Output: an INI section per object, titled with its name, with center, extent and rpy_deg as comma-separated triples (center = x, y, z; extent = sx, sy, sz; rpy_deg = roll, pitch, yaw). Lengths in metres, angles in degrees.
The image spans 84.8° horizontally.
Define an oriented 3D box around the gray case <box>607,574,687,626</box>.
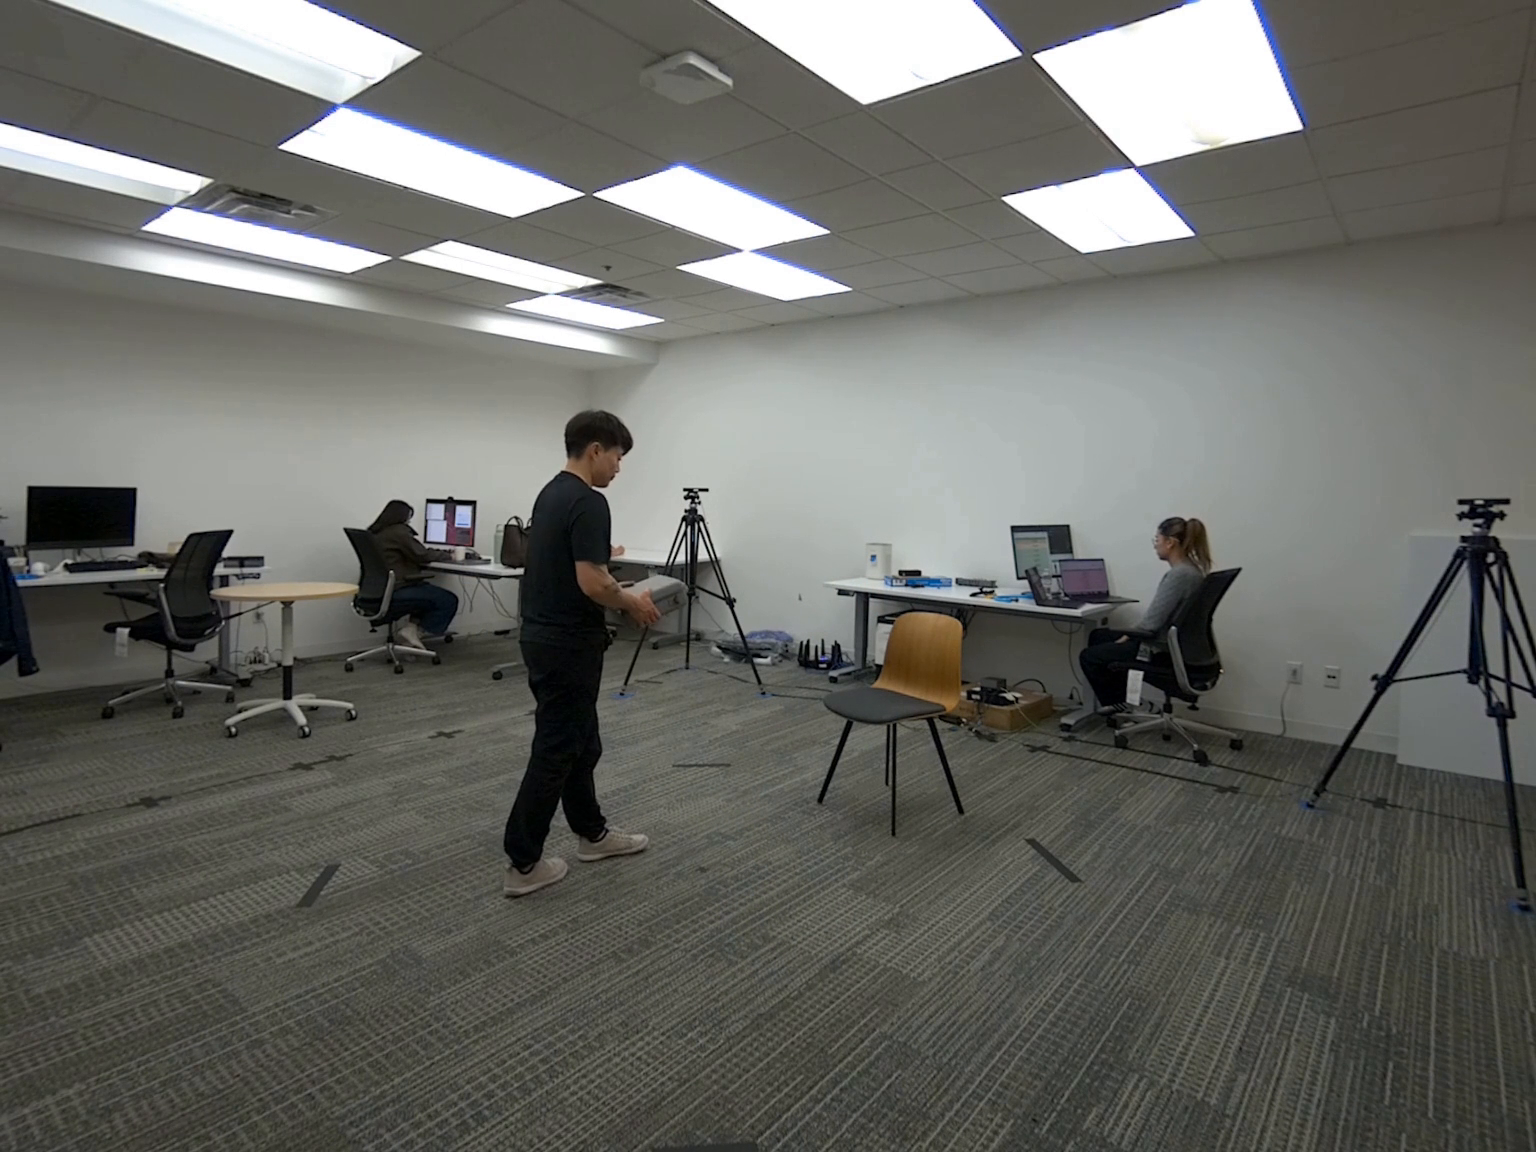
[gray case]
center = -0.465, 0.080, 3.182
extent = 0.257, 0.103, 0.264
rpy_deg = -20, 13, -23
